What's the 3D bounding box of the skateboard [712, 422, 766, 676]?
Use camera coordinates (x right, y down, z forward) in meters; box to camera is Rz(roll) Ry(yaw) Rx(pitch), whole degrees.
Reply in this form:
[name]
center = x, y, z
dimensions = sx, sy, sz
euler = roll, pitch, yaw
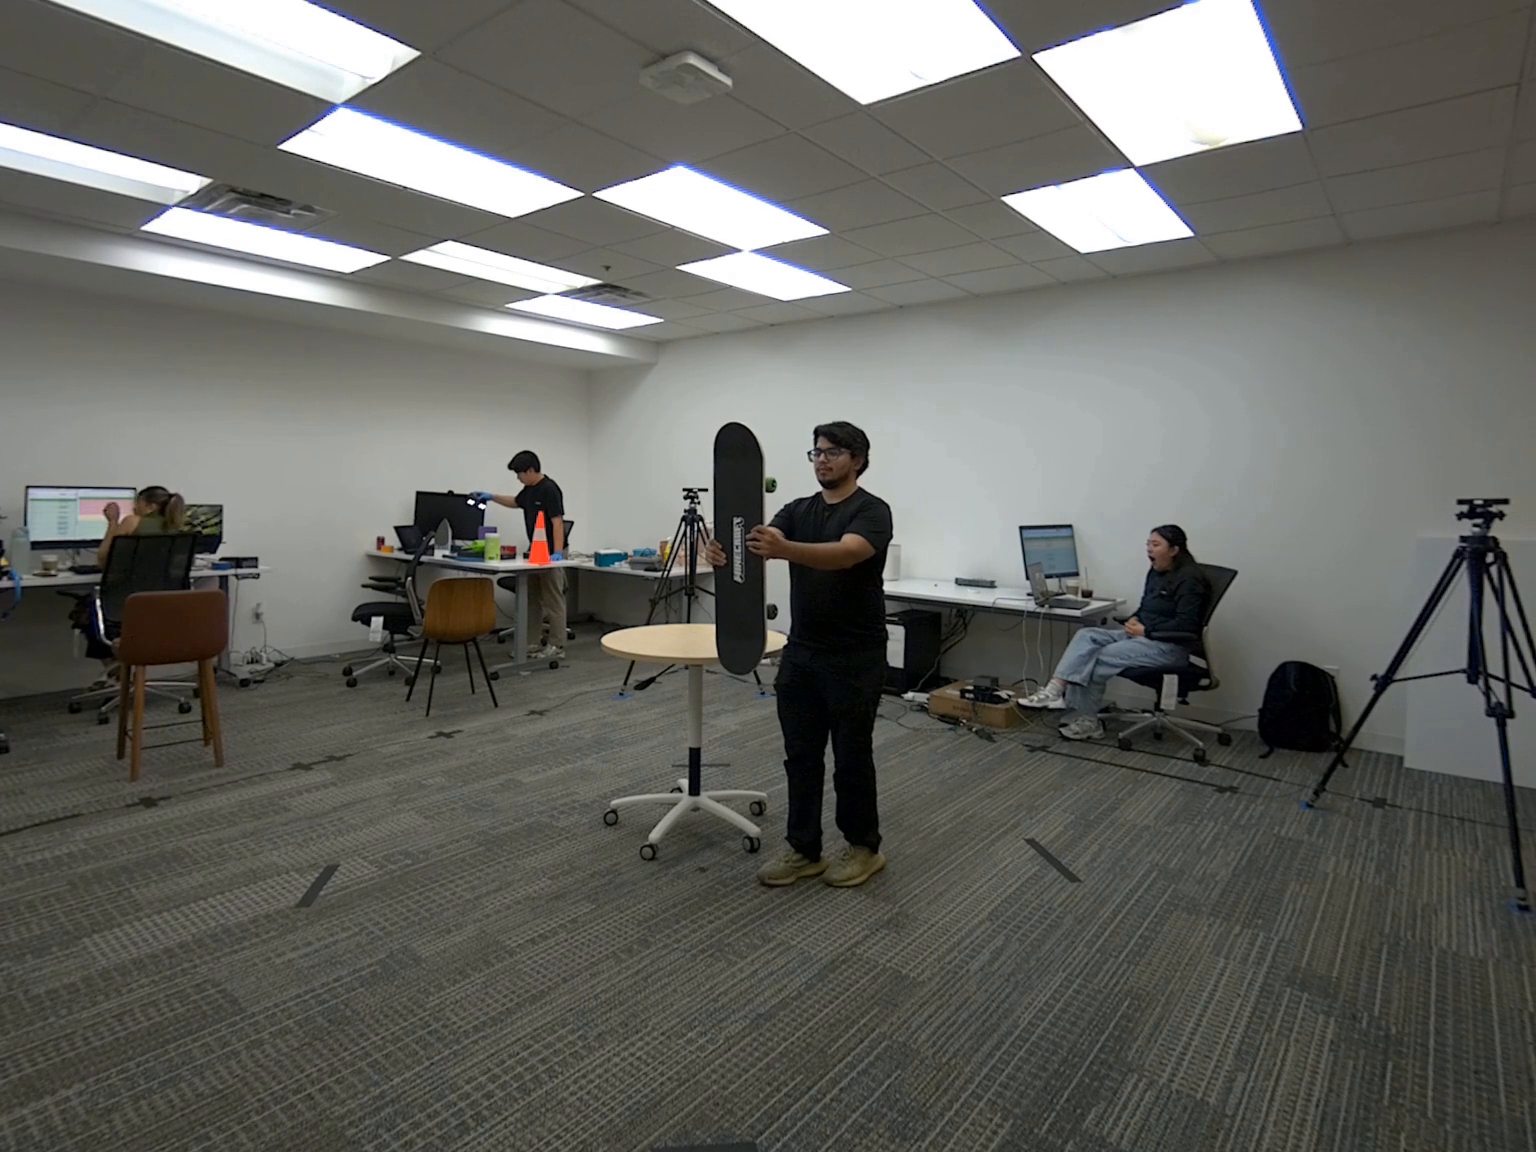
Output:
[skateboard]
center = -0.079, -0.085, 2.678
dimensions = 0.199, 0.782, 0.107
euler = 2, 5, 36
